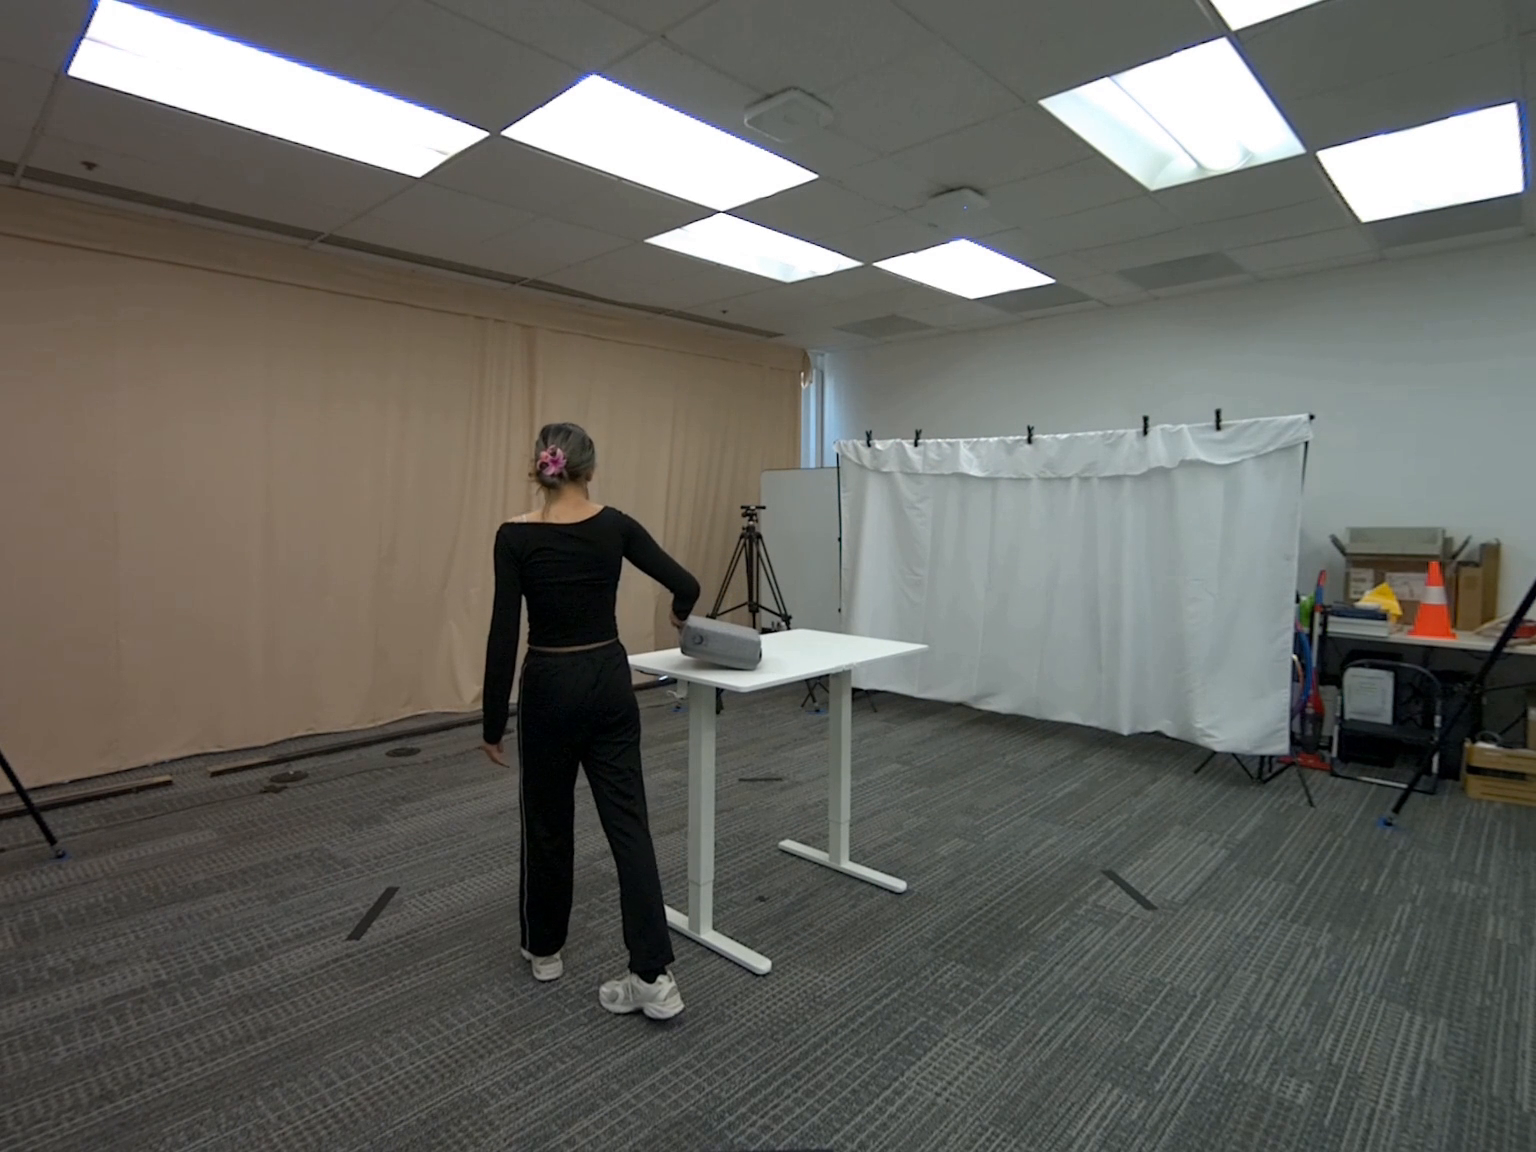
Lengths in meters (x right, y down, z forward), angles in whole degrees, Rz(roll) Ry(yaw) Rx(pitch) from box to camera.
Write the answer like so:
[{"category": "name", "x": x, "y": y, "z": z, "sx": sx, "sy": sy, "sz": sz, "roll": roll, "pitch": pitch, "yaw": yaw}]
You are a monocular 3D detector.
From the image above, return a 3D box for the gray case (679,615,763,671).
[{"category": "gray case", "x": -0.149, "y": 0.208, "z": 2.690, "sx": 0.260, "sy": 0.104, "sz": 0.258, "roll": 12, "pitch": 4, "yaw": -3}]
